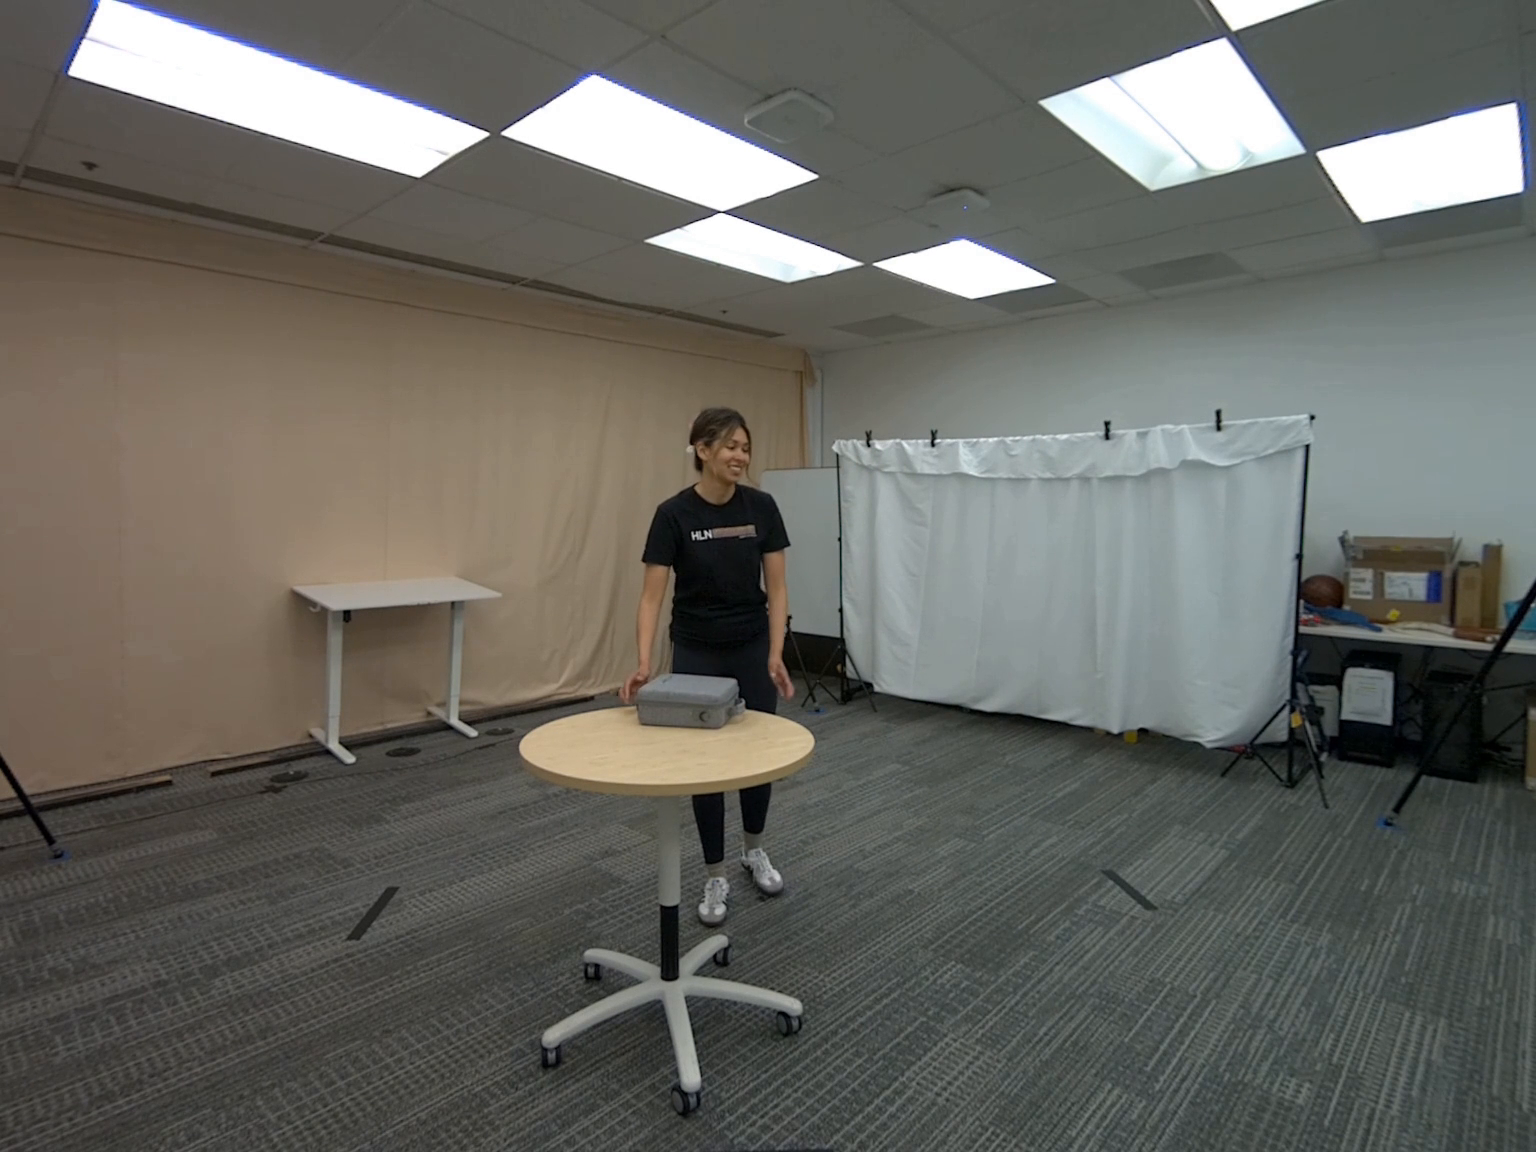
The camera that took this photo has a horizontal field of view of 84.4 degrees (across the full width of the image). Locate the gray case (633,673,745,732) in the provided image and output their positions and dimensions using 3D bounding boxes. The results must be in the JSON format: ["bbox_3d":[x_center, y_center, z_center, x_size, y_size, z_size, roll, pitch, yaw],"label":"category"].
[{"bbox_3d":[-0.222,0.358,2.441,0.264,0.104,0.253,1,2,12],"label":"gray case"}]
